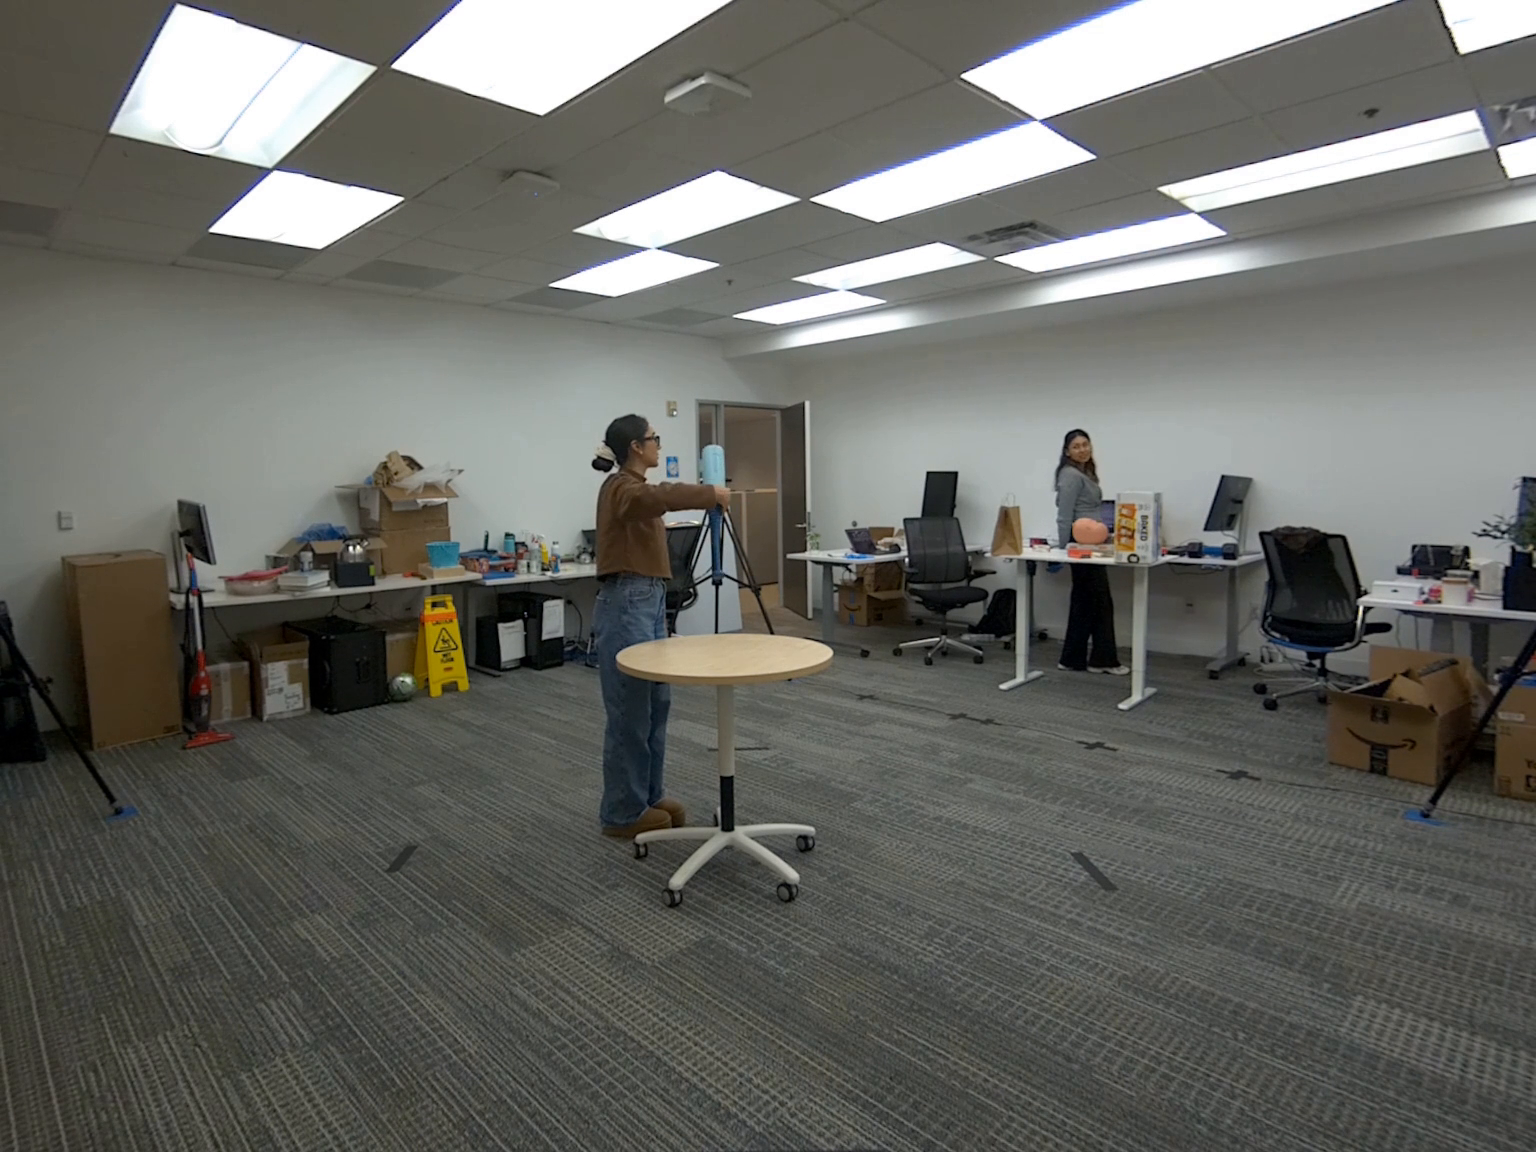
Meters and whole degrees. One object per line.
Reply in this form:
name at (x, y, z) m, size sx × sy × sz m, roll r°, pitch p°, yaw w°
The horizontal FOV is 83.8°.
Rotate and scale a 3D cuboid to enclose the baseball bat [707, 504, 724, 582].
baseball bat at (-0.208, -0.245, 3.255) m, size 0.089 × 0.554 × 0.087 m, roll -3°, pitch -22°, yaw -3°
